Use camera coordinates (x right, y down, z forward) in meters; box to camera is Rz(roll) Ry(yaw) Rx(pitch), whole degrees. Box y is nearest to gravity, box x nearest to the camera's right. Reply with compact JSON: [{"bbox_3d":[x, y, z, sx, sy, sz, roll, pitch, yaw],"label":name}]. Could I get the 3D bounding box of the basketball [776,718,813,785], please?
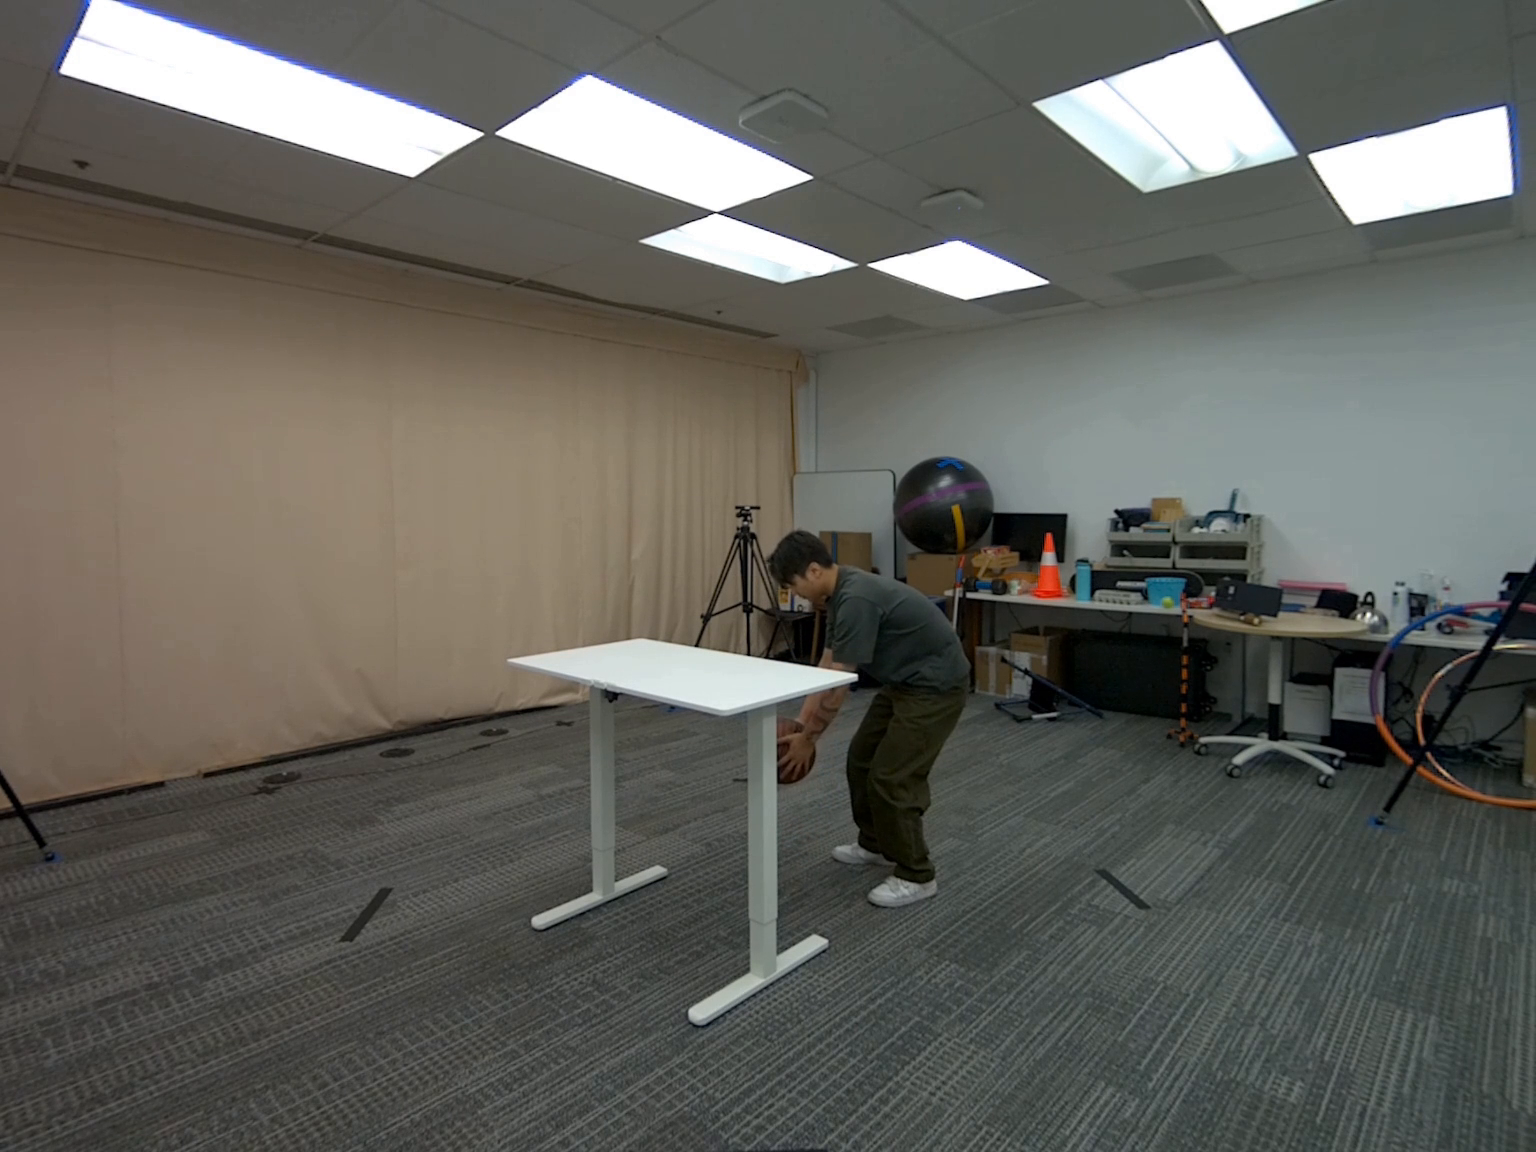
[{"bbox_3d":[0.065,0.647,3.121,0.236,0.235,0.237,0,4,-2],"label":"basketball"}]
